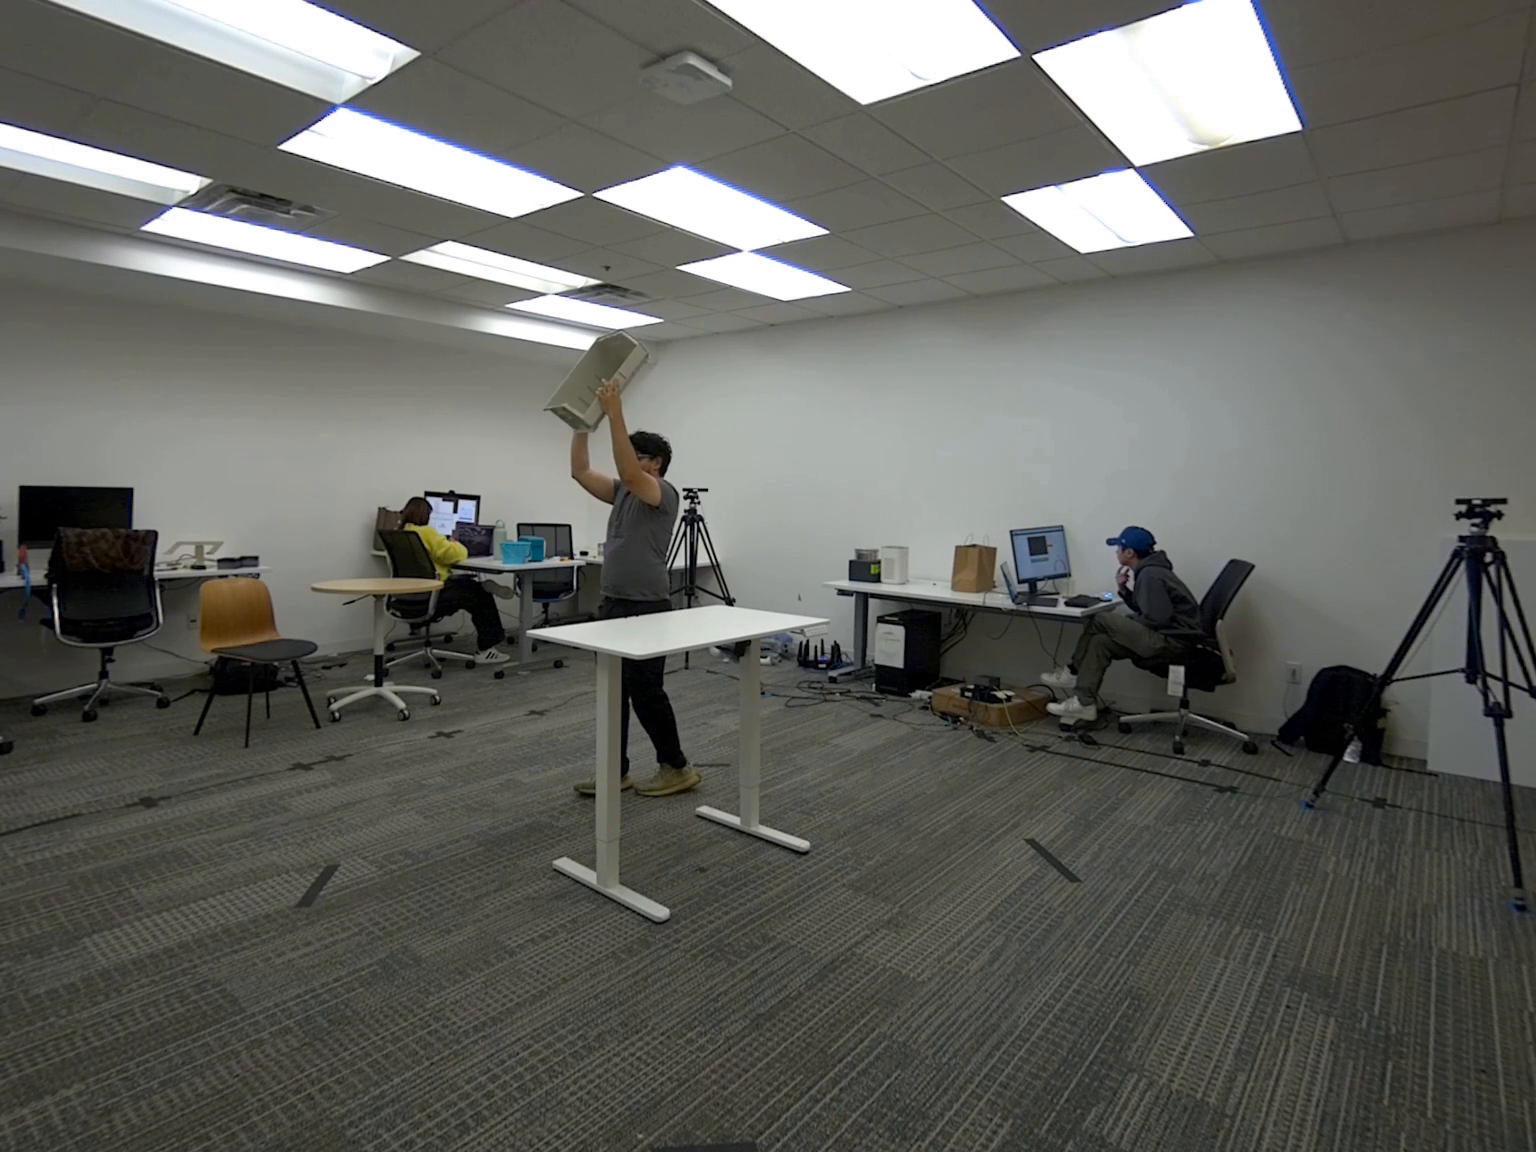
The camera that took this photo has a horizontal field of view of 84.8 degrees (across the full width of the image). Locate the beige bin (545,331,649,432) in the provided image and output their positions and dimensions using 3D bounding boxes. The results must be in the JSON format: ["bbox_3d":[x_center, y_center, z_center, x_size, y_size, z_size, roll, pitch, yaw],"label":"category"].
[{"bbox_3d":[-0.756,-0.849,3.720,0.183,0.423,0.389,39,-12,-26],"label":"beige bin"}]
